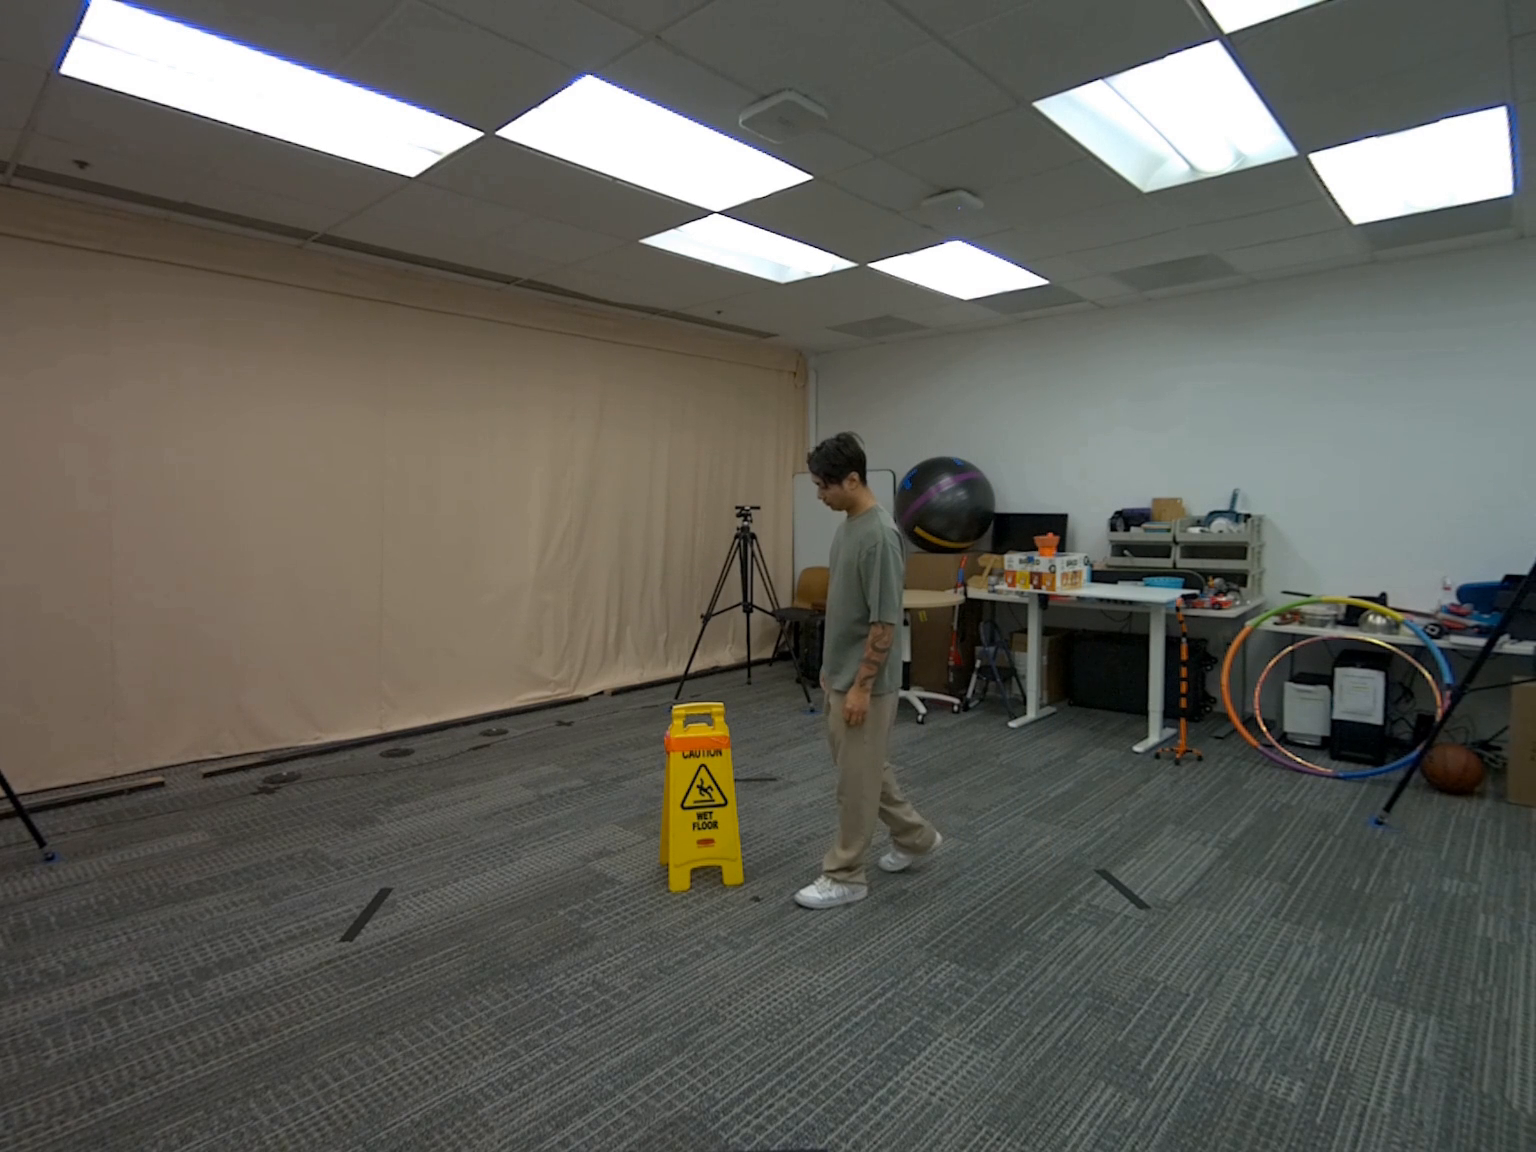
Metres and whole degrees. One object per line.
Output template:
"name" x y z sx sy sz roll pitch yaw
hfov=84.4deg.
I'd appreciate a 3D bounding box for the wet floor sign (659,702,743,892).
"wet floor sign" -0.261 0.807 3.179 0.279 0.645 0.294 -1 3 -13
